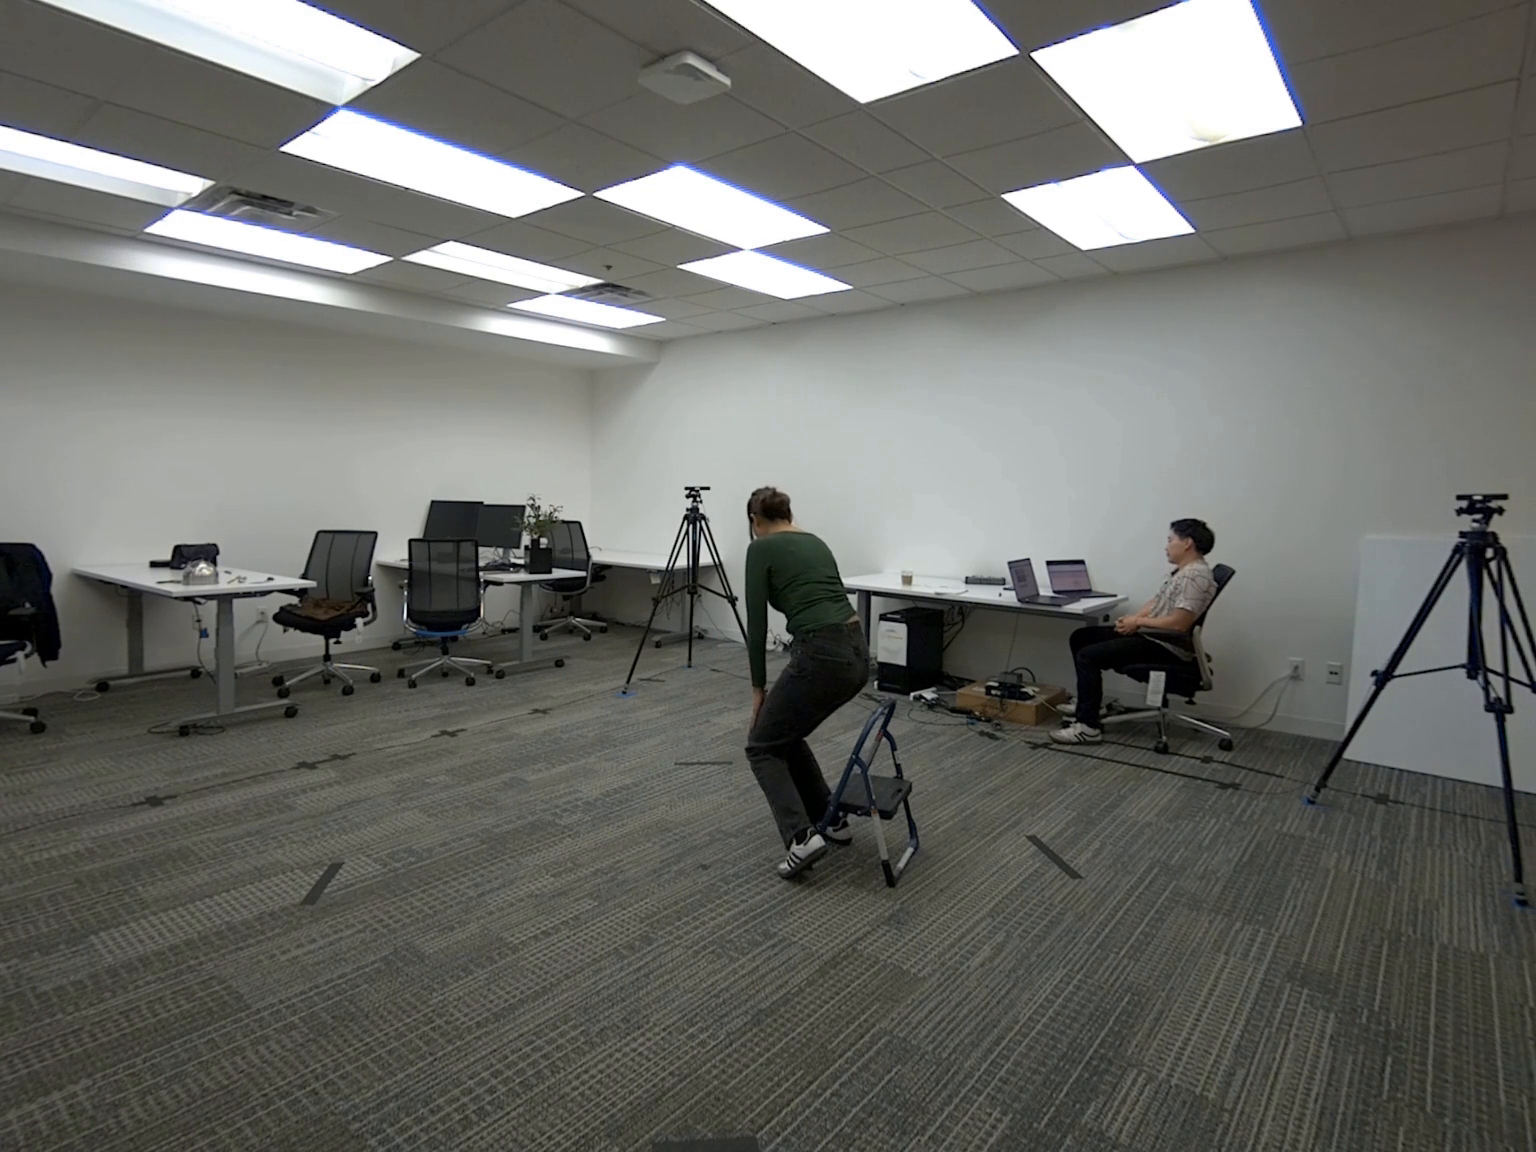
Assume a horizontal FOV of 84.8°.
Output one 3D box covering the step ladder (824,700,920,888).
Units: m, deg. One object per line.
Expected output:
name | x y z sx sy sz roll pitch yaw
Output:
step ladder | 0.359 0.764 3.217 0.358 0.604 0.421 2 4 23
